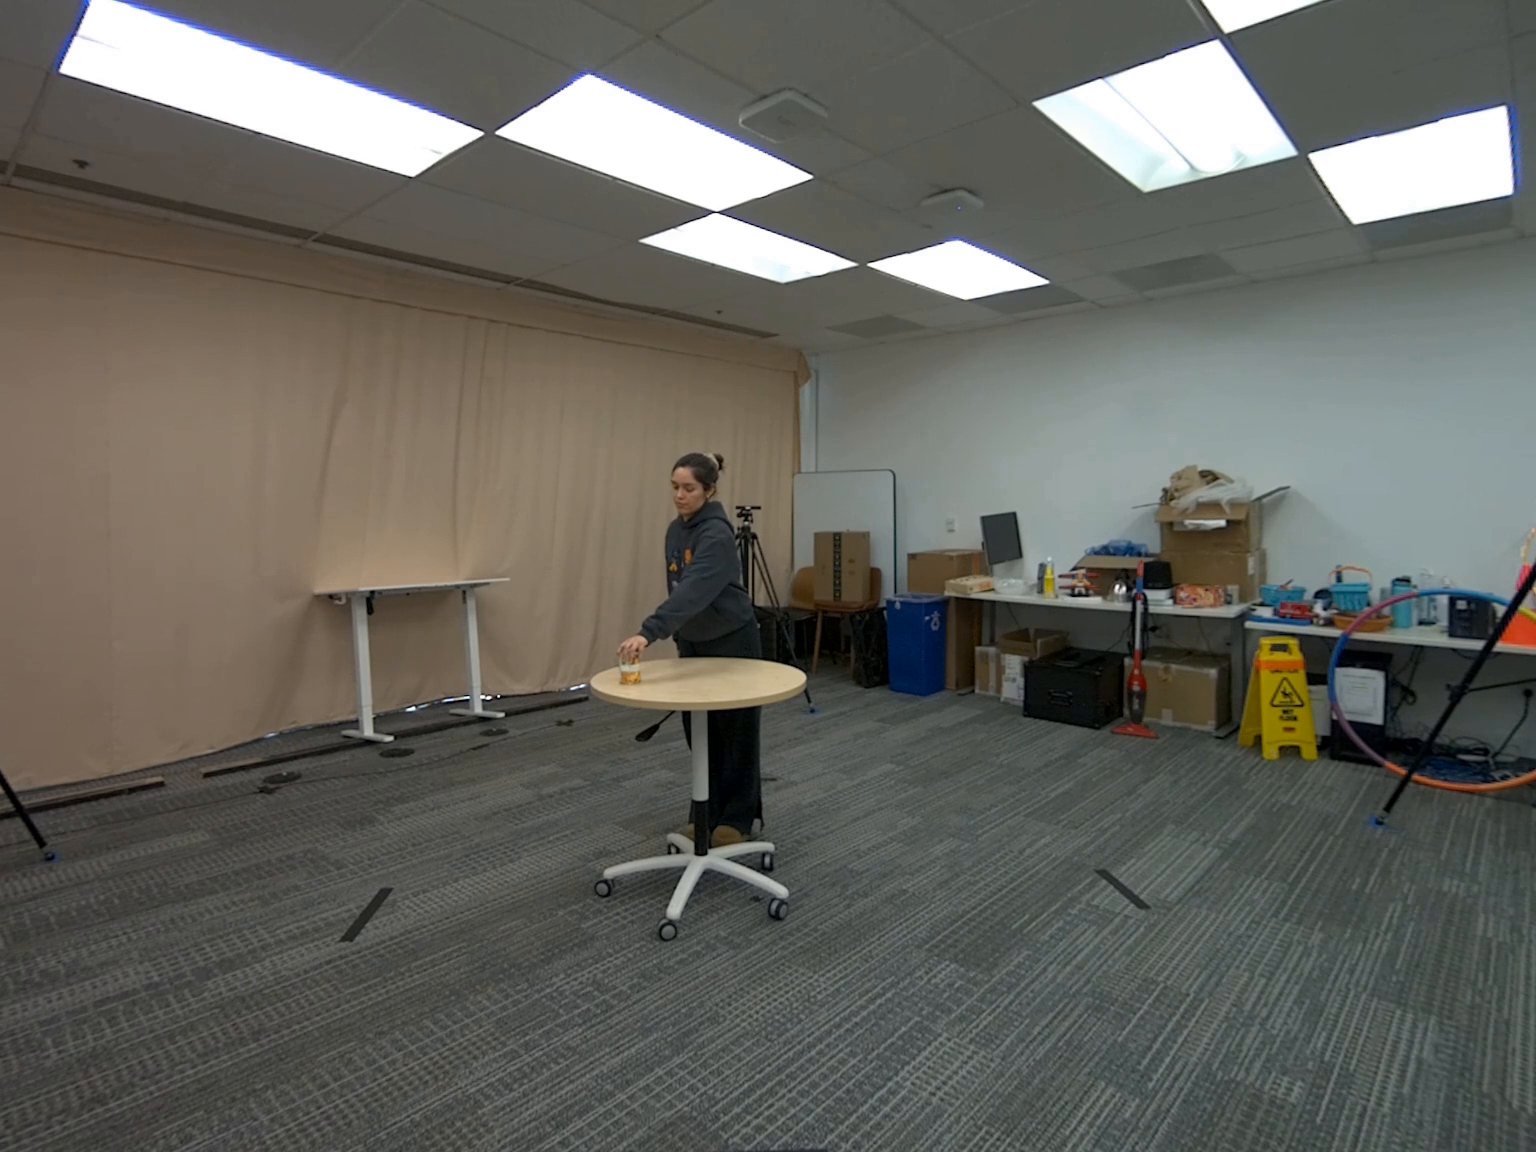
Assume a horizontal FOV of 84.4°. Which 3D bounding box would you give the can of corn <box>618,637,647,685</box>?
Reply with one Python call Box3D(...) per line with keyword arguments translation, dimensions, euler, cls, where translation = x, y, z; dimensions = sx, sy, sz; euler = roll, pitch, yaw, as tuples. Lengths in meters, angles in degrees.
Box3D(translation=(-0.472, 0.304, 2.931), dimensions=(0.074, 0.111, 0.074), euler=(1, 3, -2), cls="can of corn")
